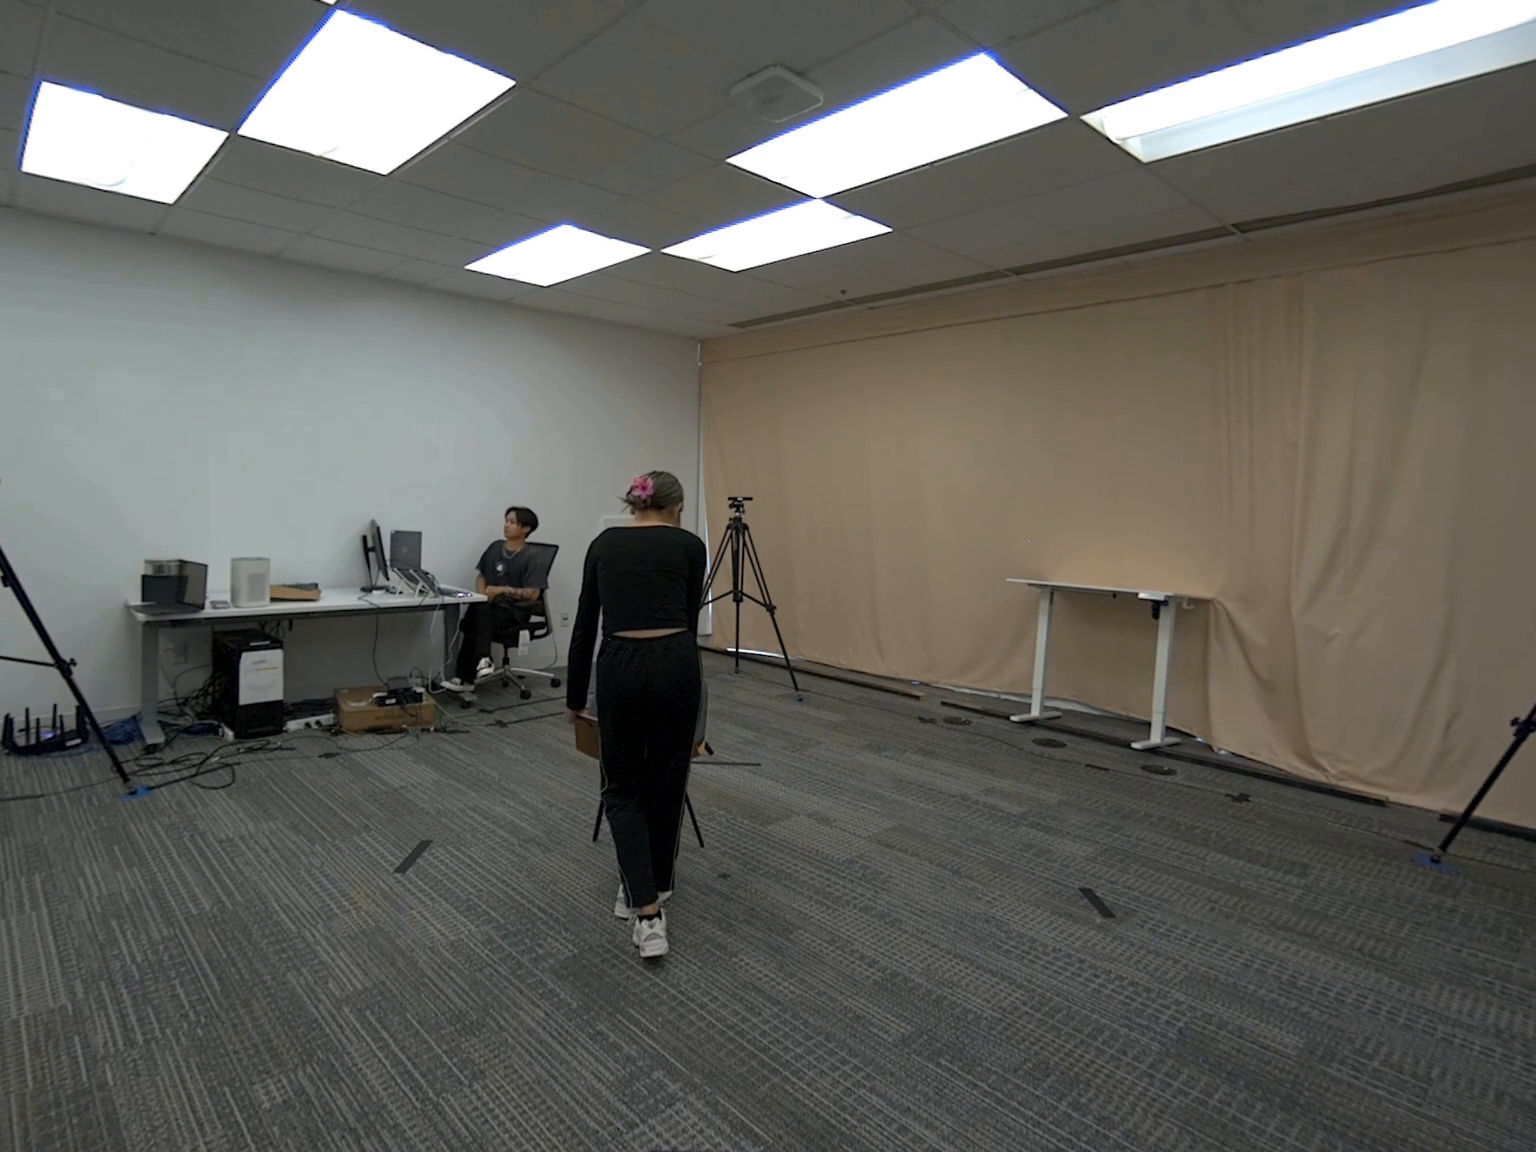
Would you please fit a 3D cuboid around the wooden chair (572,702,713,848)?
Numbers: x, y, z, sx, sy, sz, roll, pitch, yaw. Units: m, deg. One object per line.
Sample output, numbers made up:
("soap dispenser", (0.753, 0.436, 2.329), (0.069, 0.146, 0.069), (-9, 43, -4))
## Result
("wooden chair", (-0.474, 0.604, 3.277), (0.480, 0.857, 0.533), (2, 46, 3))
